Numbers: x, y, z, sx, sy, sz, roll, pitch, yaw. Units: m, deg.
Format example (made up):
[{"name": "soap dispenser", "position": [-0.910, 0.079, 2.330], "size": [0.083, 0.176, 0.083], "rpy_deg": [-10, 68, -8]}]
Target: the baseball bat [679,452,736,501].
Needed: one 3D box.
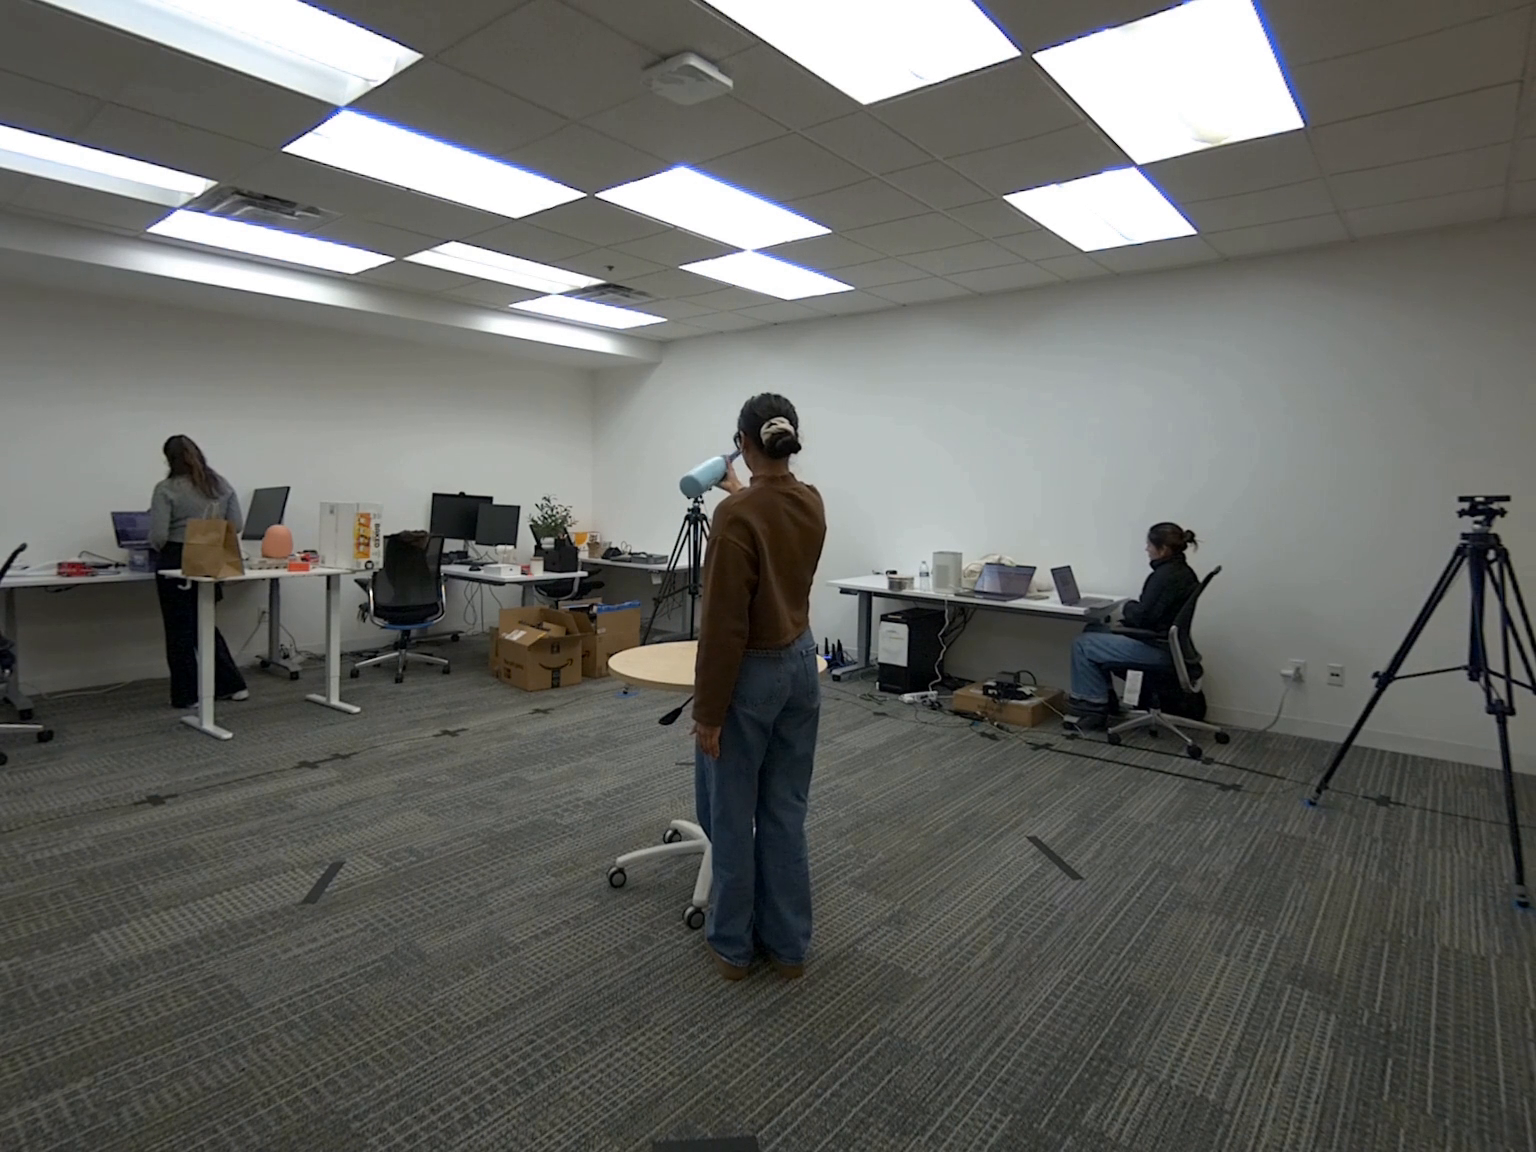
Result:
[{"name": "baseball bat", "position": [-0.176, -0.397, 3.046], "size": [0.091, 0.087, 0.543], "rpy_deg": [2, 25, 19]}]
